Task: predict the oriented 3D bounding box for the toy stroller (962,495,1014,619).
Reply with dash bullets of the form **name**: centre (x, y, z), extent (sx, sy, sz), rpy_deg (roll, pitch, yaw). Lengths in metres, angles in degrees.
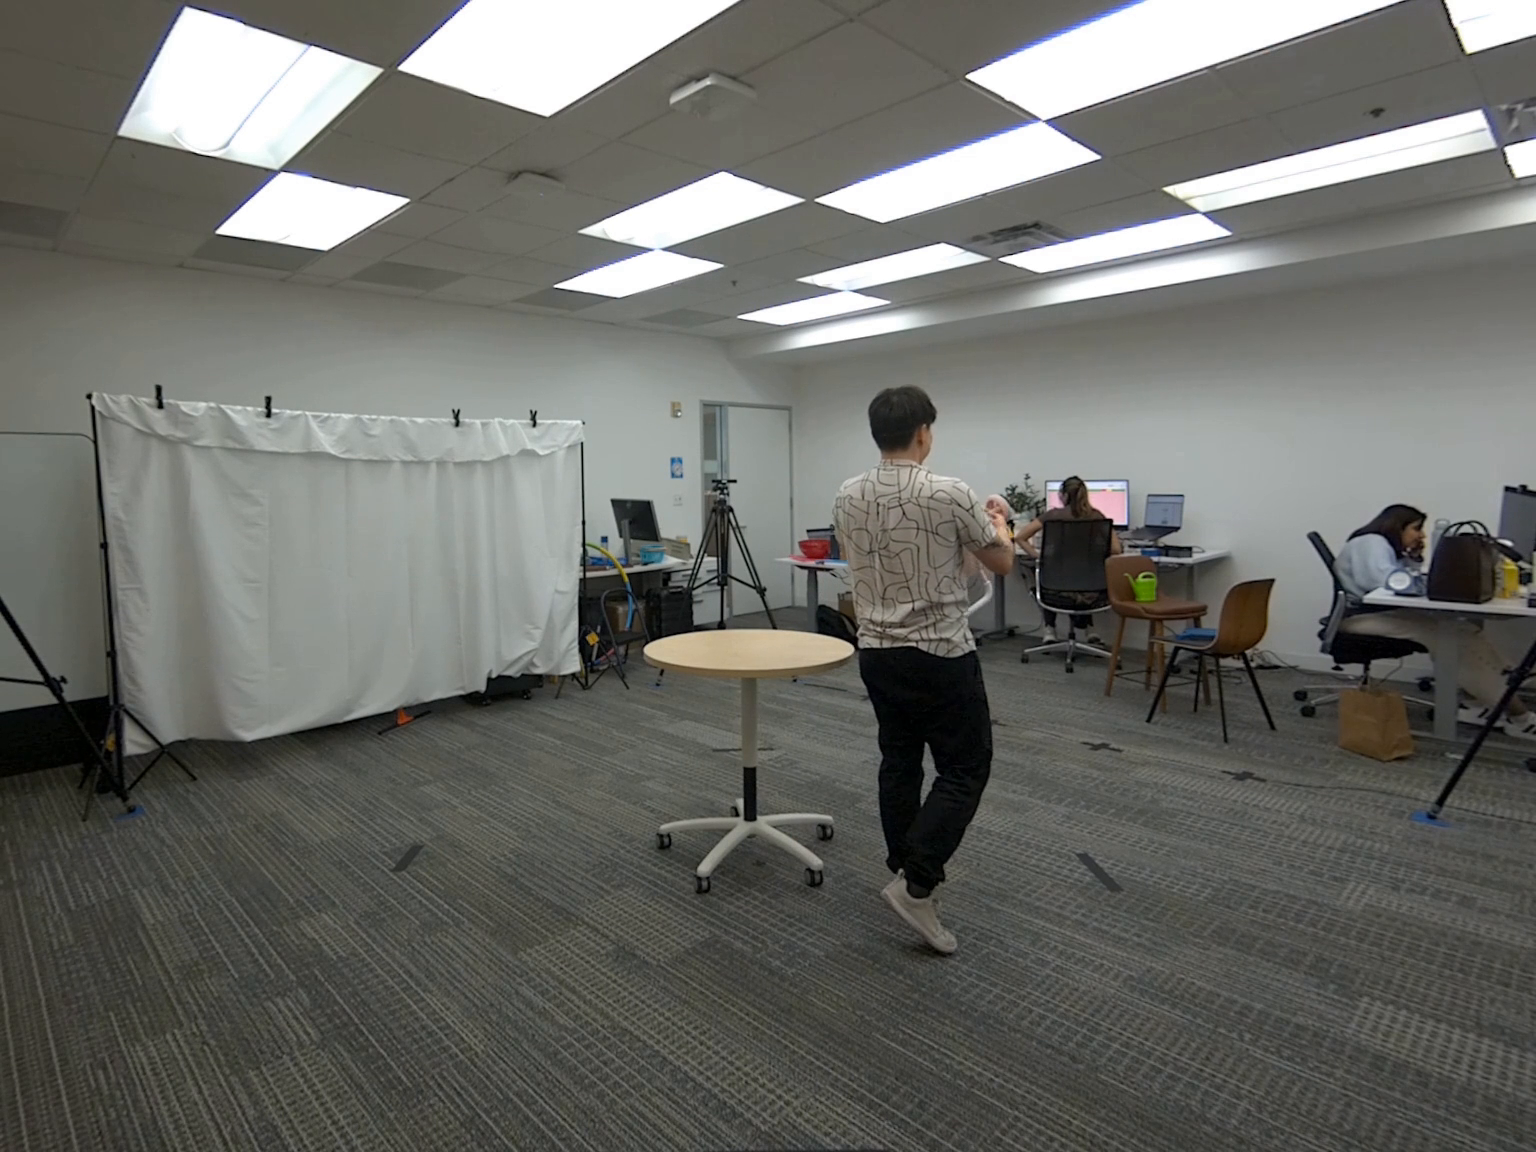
- **toy stroller**: centre (0.674, -0.133, 3.140), extent (0.280, 0.518, 0.354), rpy_deg (-36, 53, -23)
